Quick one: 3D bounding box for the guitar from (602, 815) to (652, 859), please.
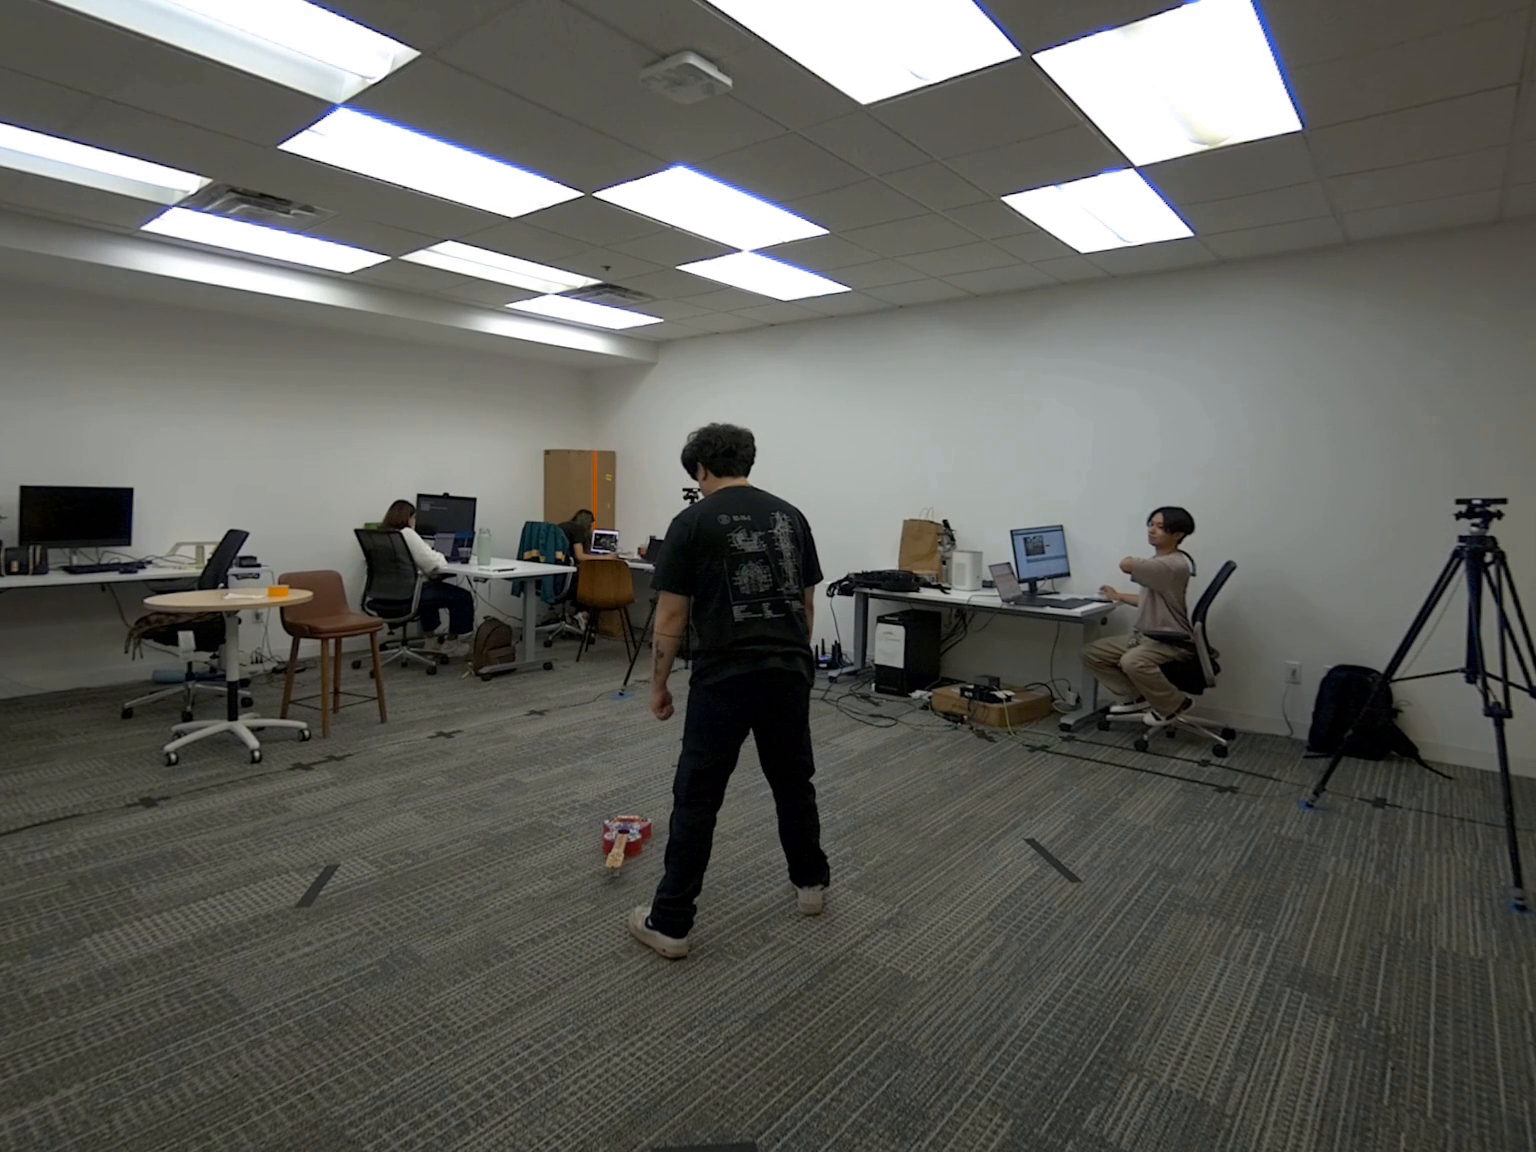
[{"bbox_3d":[-0.591,1.017,3.221,0.195,0.070,0.495,2,5,6],"label":"guitar"}]
